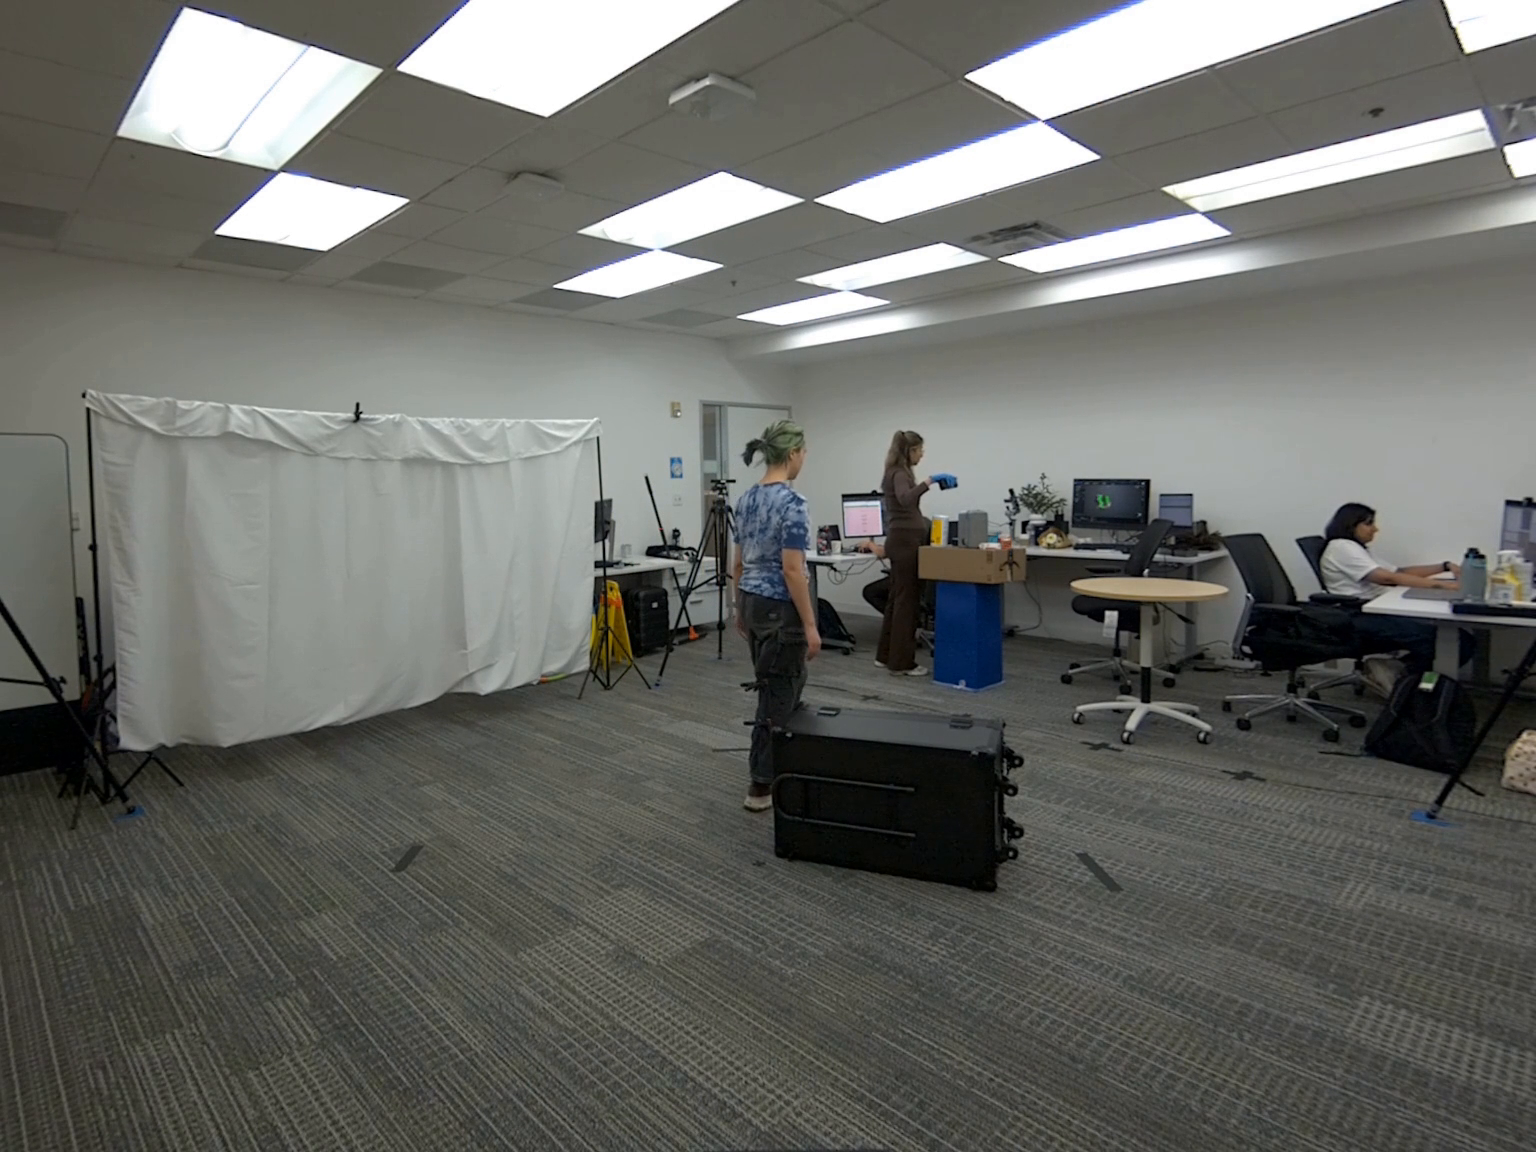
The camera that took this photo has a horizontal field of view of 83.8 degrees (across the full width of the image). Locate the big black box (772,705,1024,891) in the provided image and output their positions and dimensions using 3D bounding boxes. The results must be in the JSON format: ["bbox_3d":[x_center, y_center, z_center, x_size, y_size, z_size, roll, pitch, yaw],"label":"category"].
[{"bbox_3d":[0.472,0.781,3.117,0.879,0.518,0.390,0,7,22],"label":"big black box"}]
